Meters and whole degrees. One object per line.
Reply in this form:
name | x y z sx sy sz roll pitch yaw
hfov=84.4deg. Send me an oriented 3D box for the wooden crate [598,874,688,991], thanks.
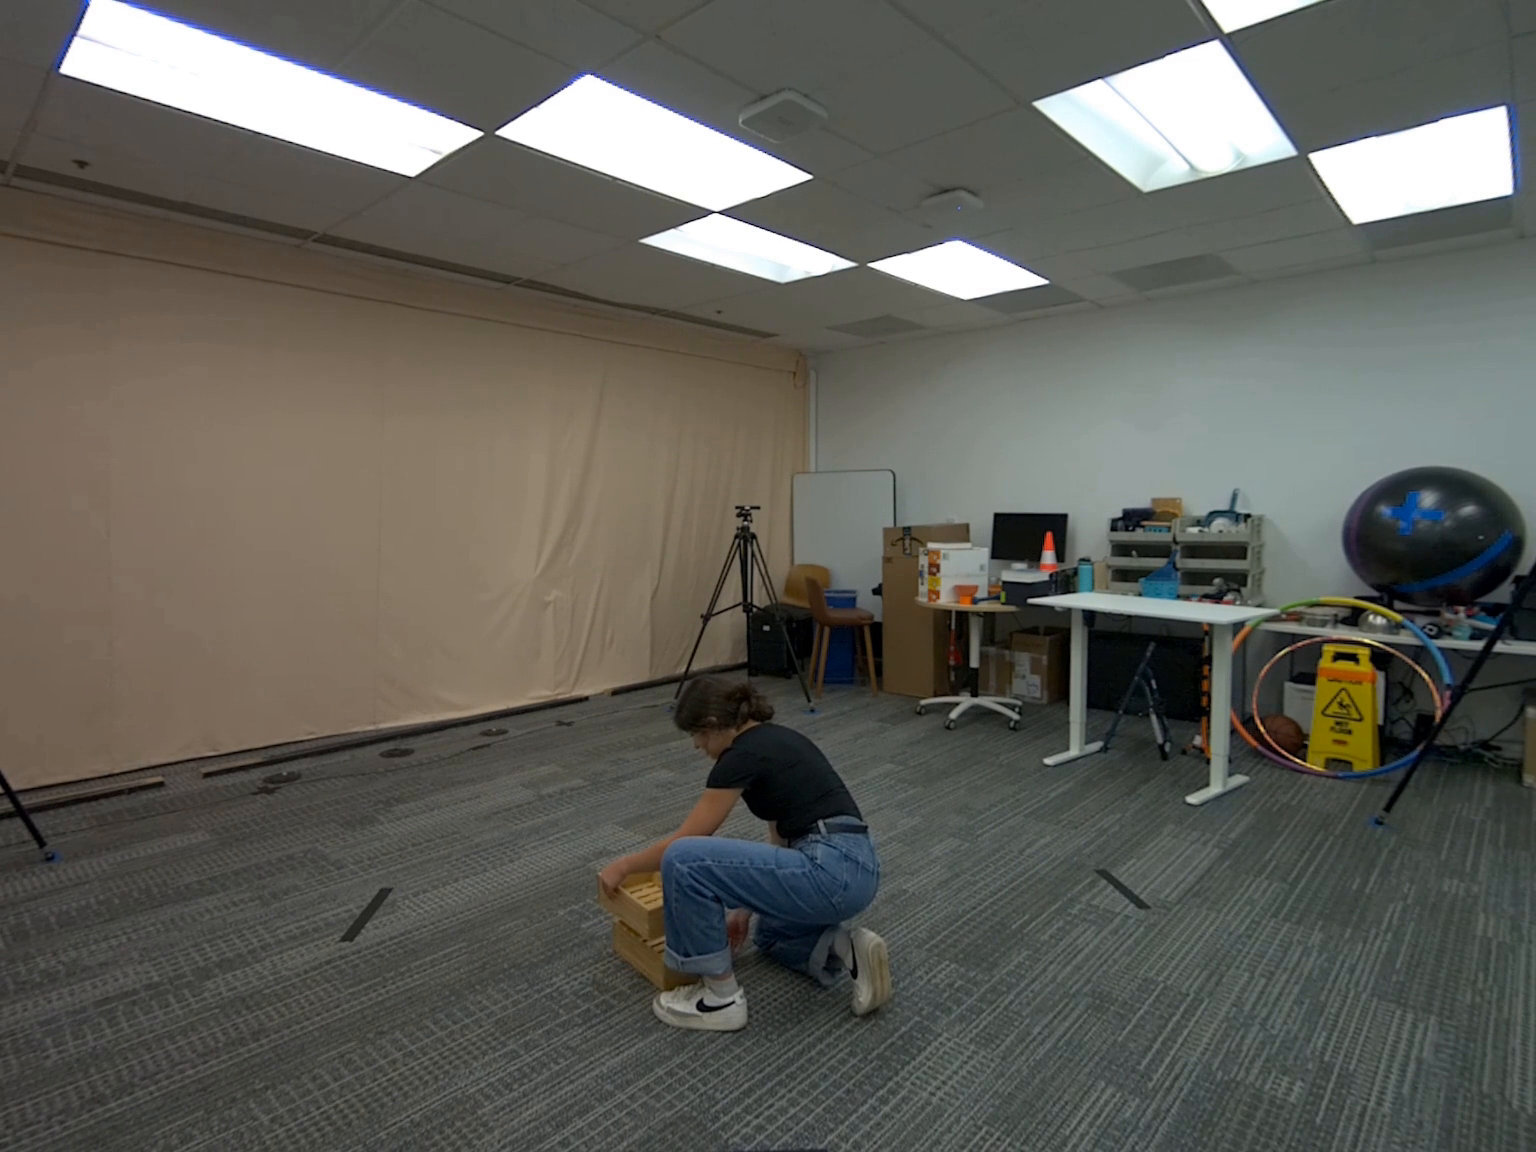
wooden crate | -0.313 1.043 2.576 0.293 0.272 0.335 -4 5 -39
